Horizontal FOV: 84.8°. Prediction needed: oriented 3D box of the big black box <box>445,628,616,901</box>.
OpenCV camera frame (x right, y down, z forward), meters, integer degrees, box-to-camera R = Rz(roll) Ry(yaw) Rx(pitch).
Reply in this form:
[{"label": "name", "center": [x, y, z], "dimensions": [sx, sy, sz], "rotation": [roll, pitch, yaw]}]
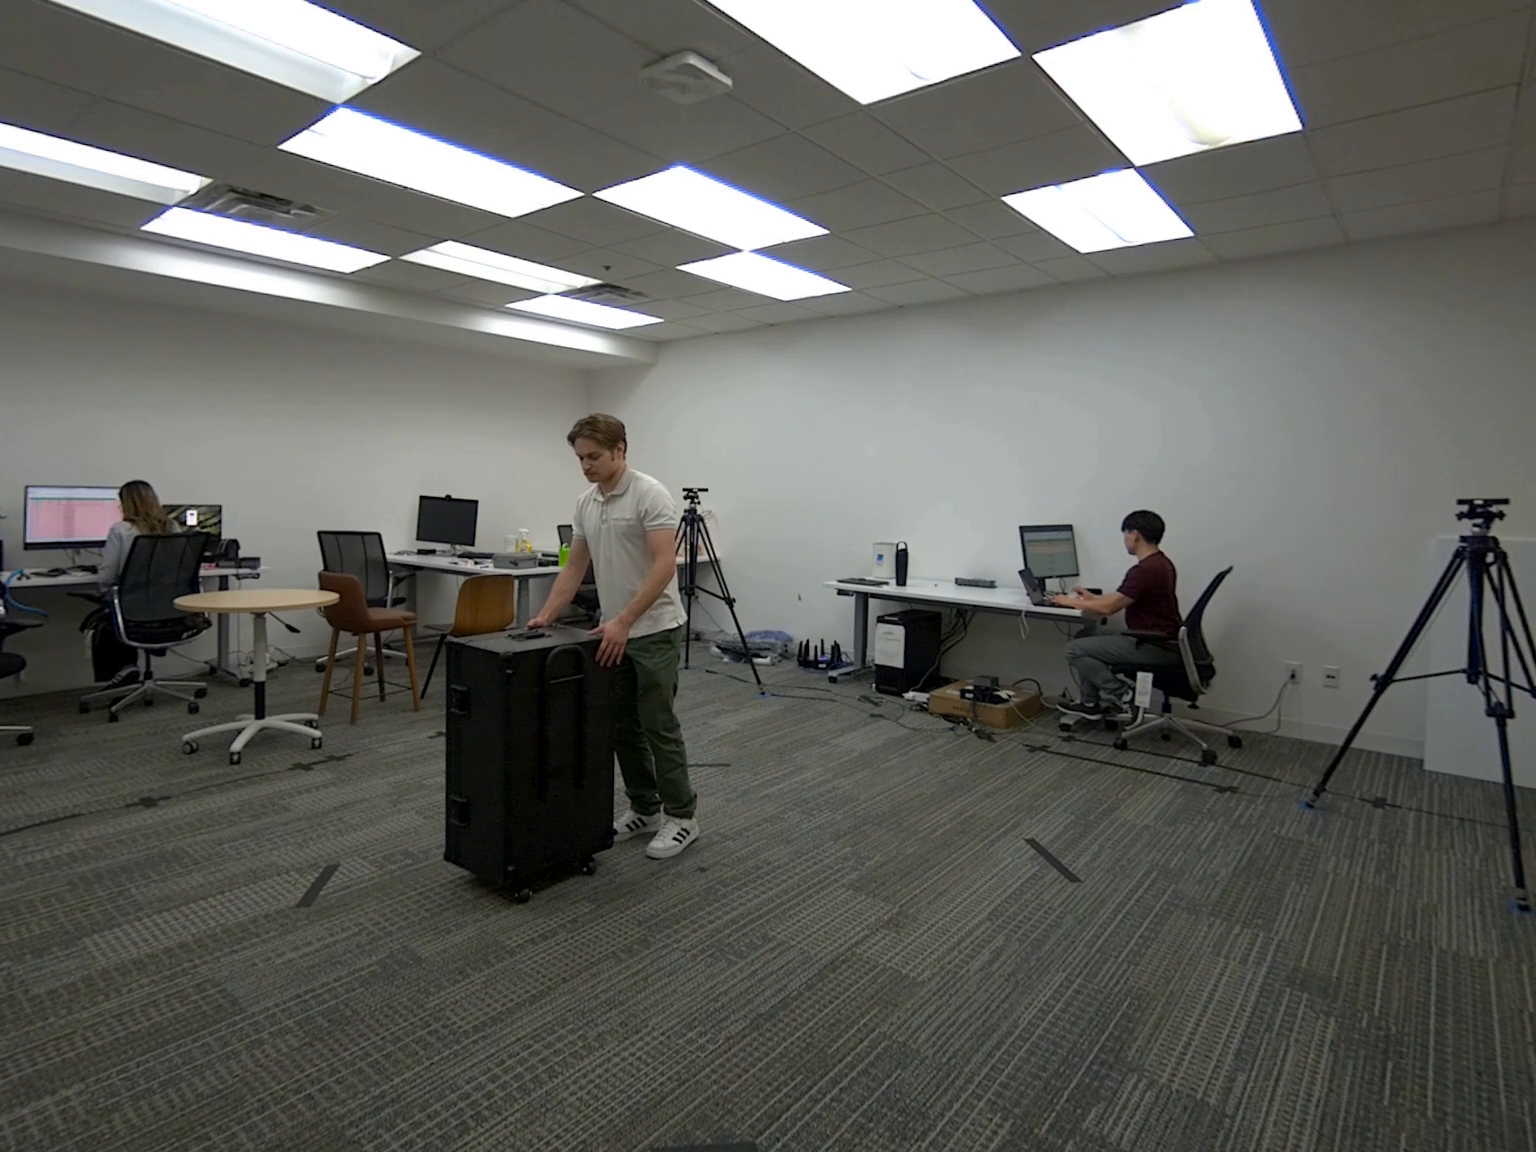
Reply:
[{"label": "big black box", "center": [-0.853, 0.647, 3.033], "dimensions": [0.398, 0.866, 0.508], "rotation": [4, 5, 39]}]
